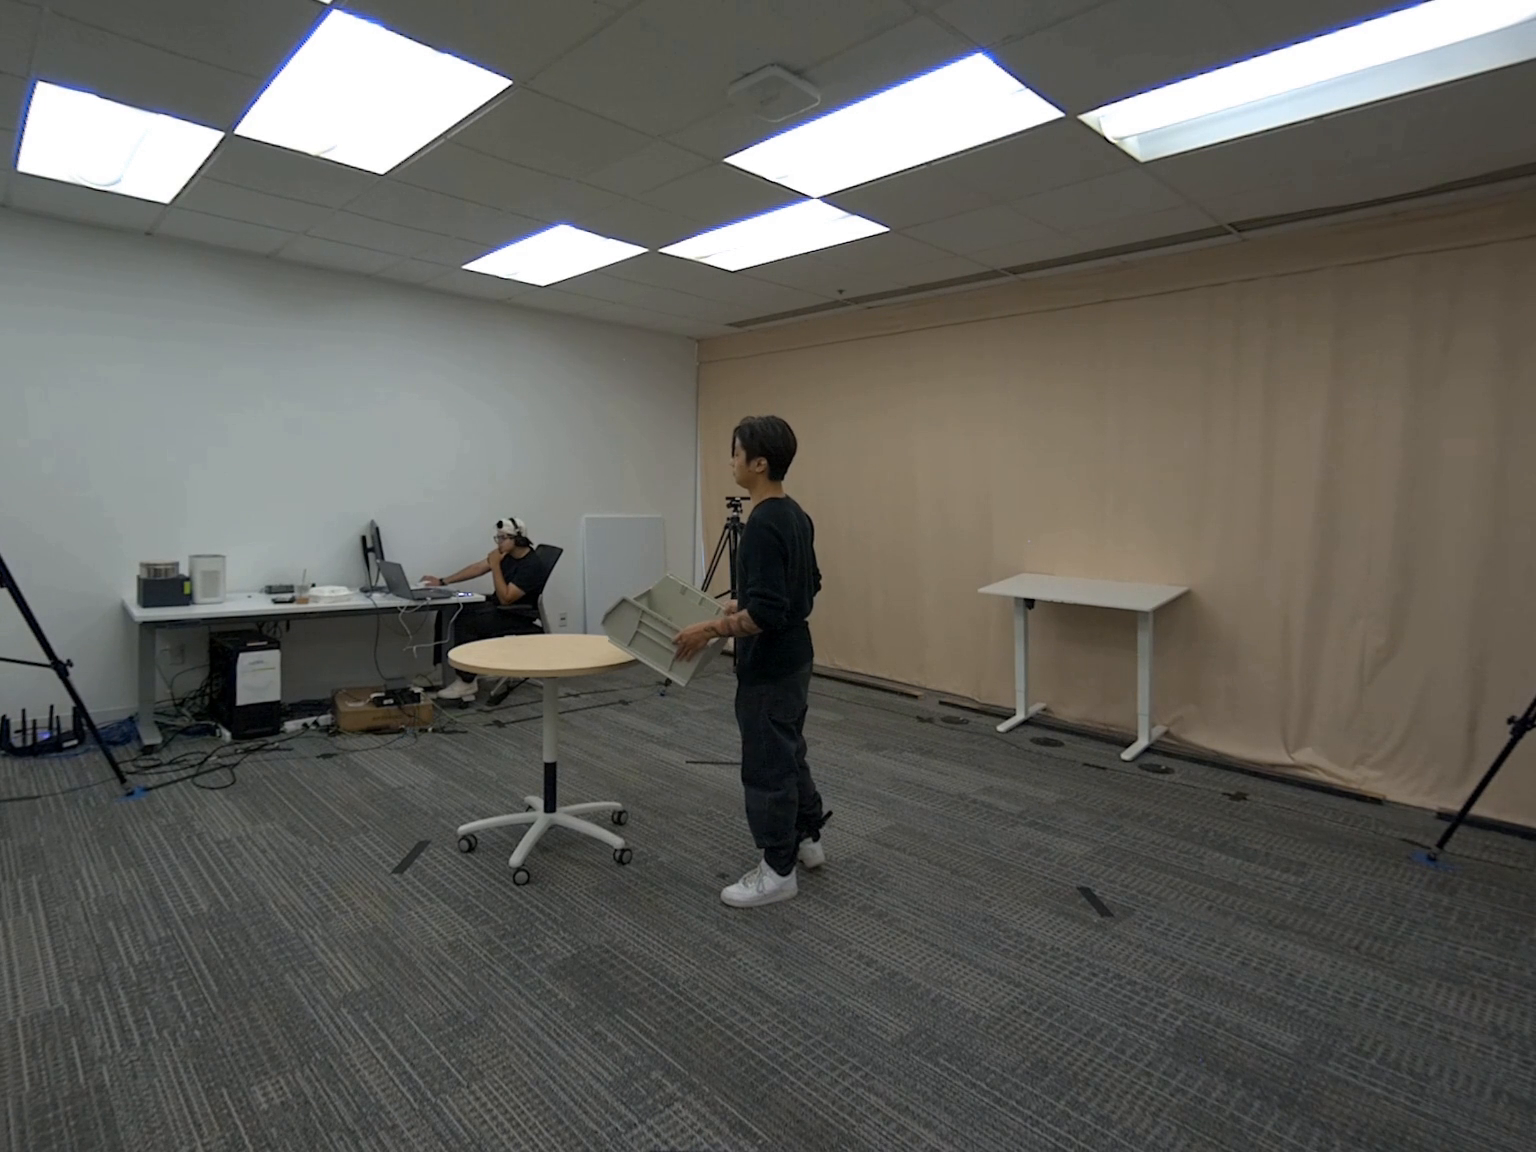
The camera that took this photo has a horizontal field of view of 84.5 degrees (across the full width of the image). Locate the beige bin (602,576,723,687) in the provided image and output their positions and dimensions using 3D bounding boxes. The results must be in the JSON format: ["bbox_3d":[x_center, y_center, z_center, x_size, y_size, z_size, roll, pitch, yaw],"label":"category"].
[{"bbox_3d":[-0.349,0.171,3.029,0.381,0.188,0.420,29,15,8],"label":"beige bin"}]
